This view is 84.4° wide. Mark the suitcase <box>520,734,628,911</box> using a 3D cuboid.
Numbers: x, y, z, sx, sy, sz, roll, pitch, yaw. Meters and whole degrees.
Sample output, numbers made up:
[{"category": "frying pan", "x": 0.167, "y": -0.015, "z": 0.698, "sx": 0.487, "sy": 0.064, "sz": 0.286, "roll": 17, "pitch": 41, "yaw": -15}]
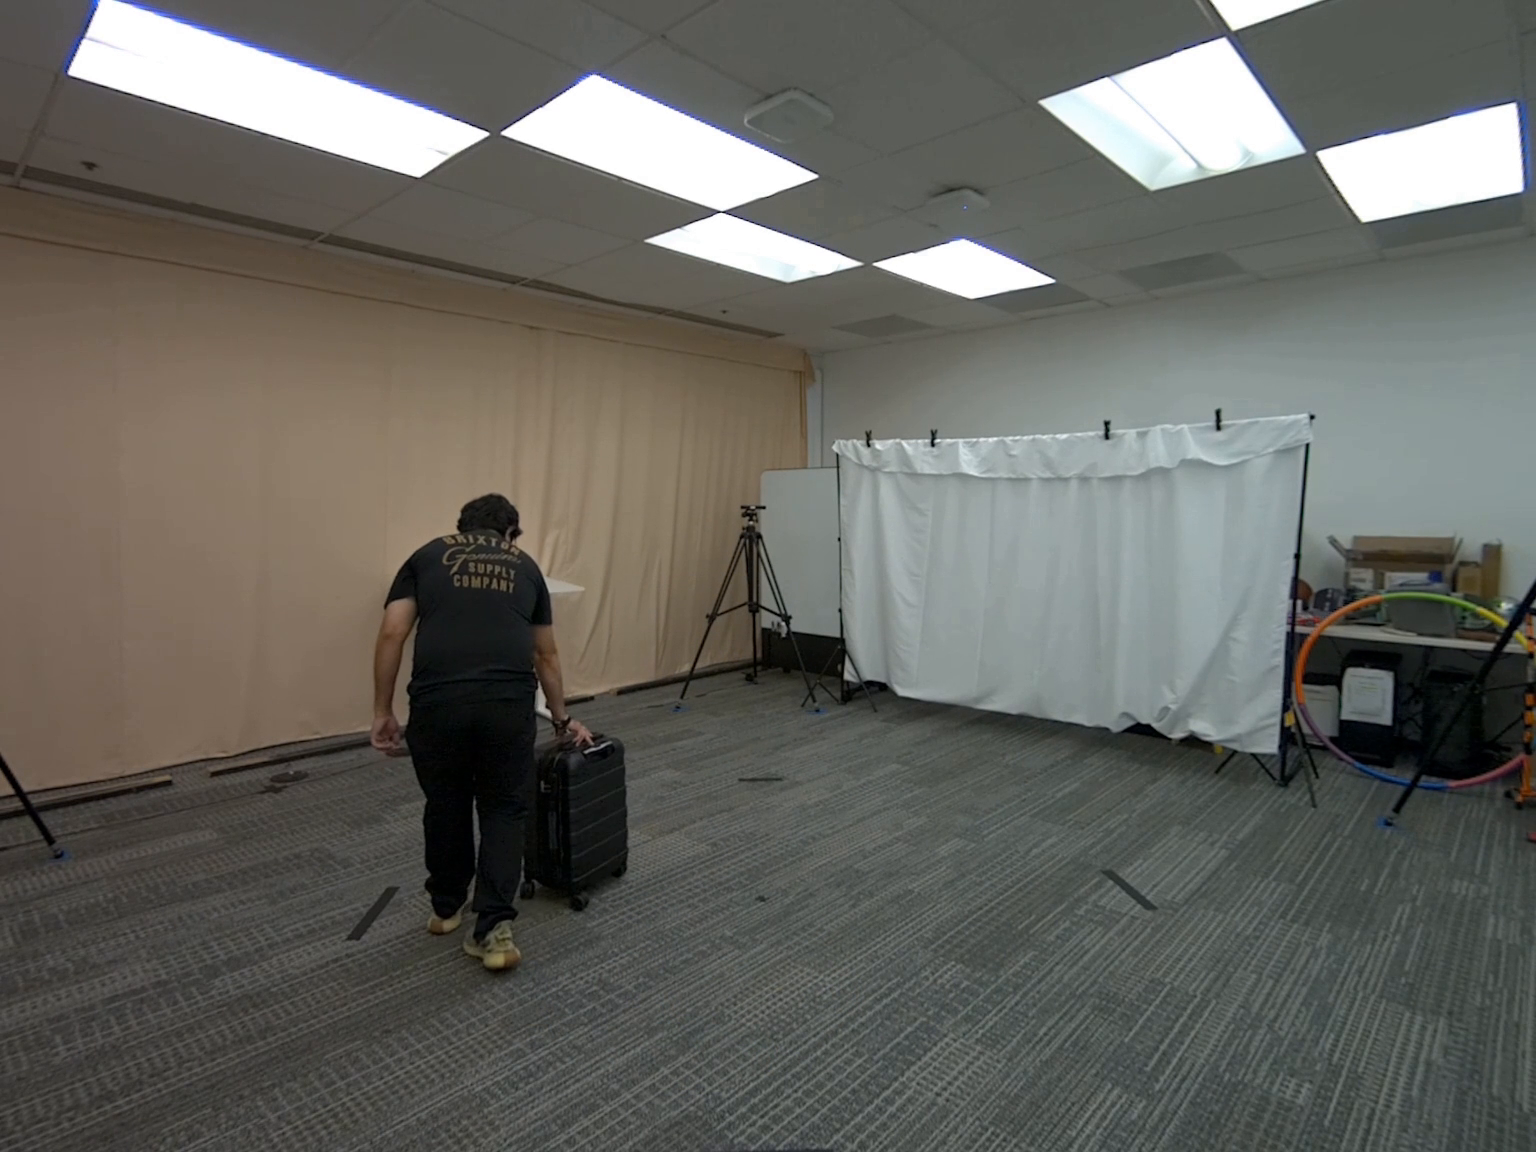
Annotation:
[{"category": "suitcase", "x": -0.707, "y": 0.866, "z": 3.089, "sx": 0.255, "sy": 0.548, "sz": 0.366, "roll": 2, "pitch": 4, "yaw": 27}]
